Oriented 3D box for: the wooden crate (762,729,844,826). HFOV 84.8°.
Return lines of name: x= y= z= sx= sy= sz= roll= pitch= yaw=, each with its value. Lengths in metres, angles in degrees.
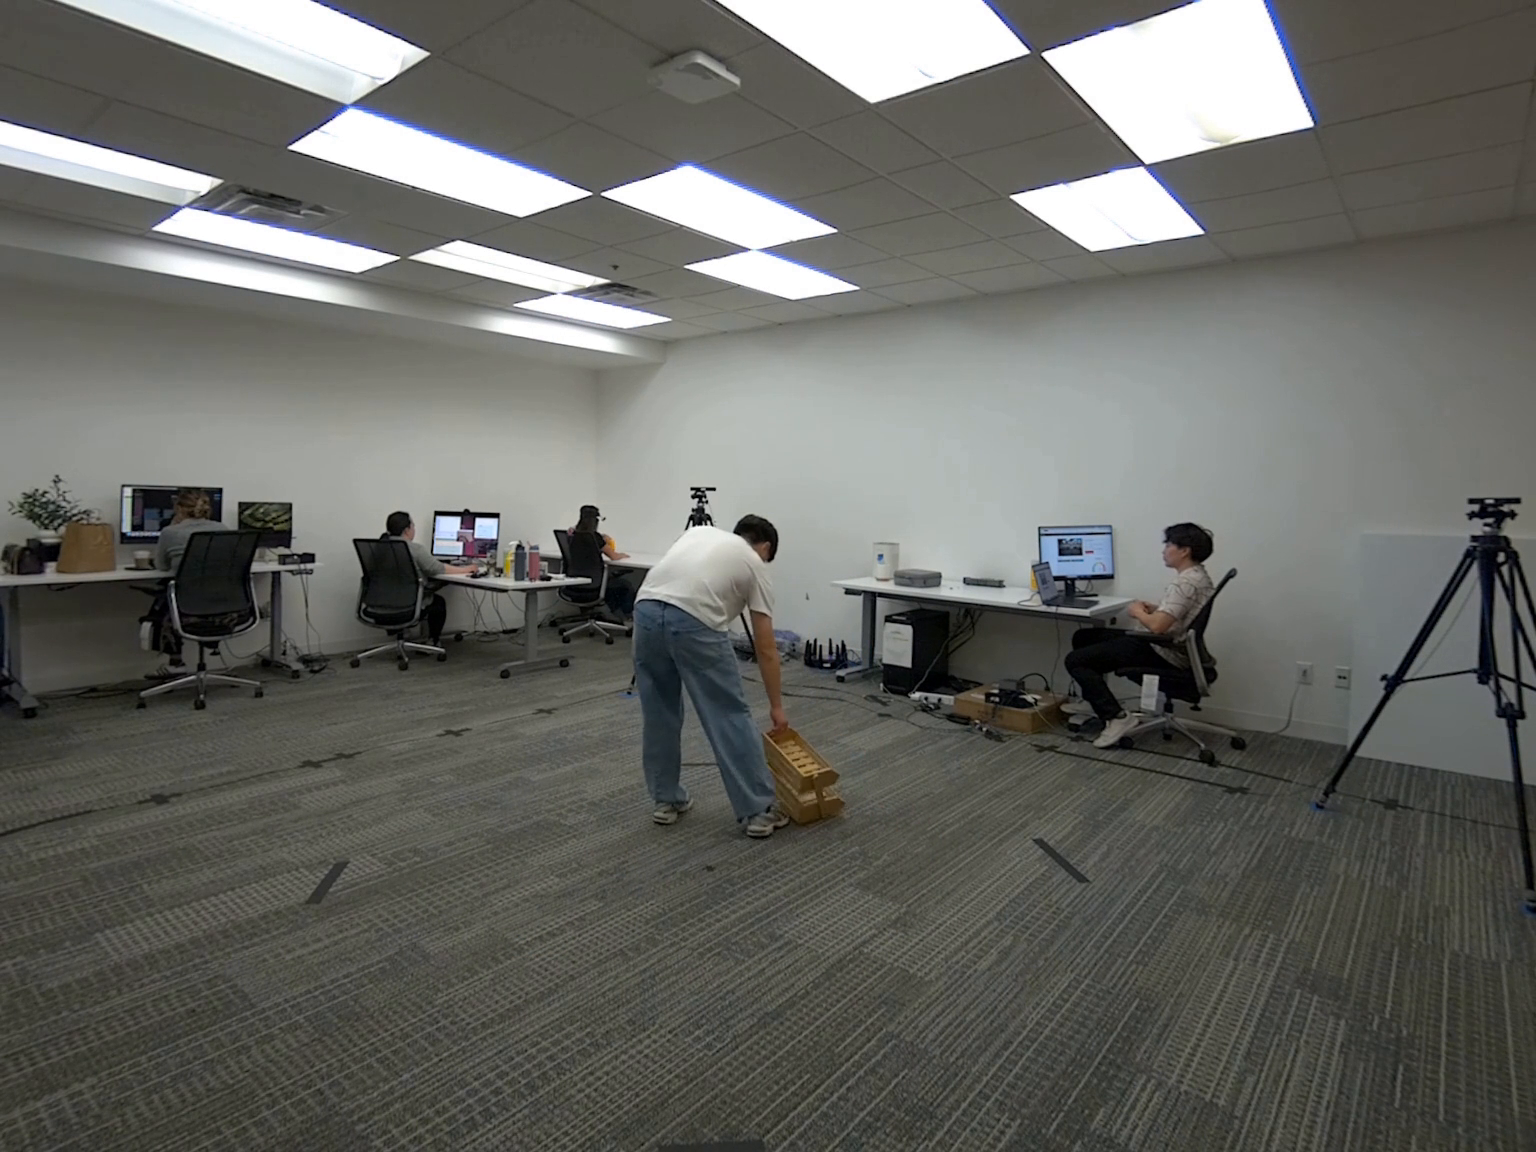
wooden crate: x=0.134 y=0.835 z=3.628 sx=0.294 sy=0.269 sz=0.338 roll=-5 pitch=28 yaw=-36
